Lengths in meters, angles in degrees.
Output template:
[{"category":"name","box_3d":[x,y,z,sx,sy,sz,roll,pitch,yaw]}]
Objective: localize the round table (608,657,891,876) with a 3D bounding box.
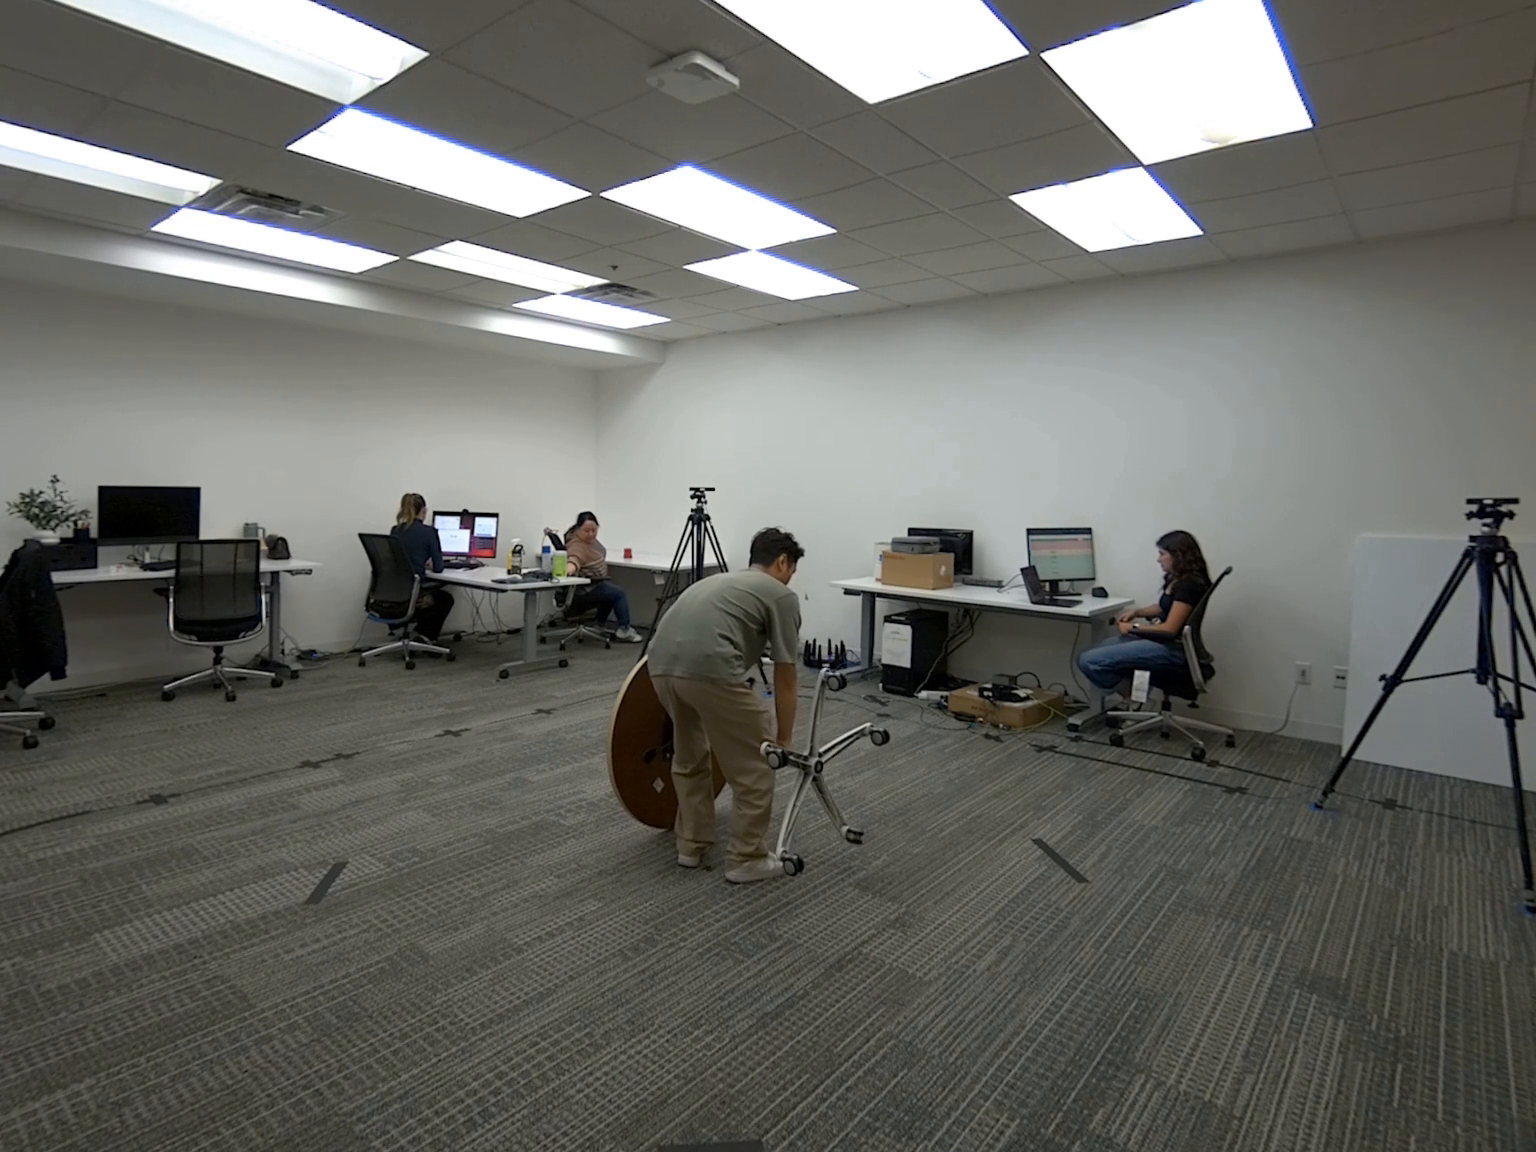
[{"category":"round table","box_3d":[-0.067,0.668,3.236,0.813,0.782,0.762,5,6,40]}]
